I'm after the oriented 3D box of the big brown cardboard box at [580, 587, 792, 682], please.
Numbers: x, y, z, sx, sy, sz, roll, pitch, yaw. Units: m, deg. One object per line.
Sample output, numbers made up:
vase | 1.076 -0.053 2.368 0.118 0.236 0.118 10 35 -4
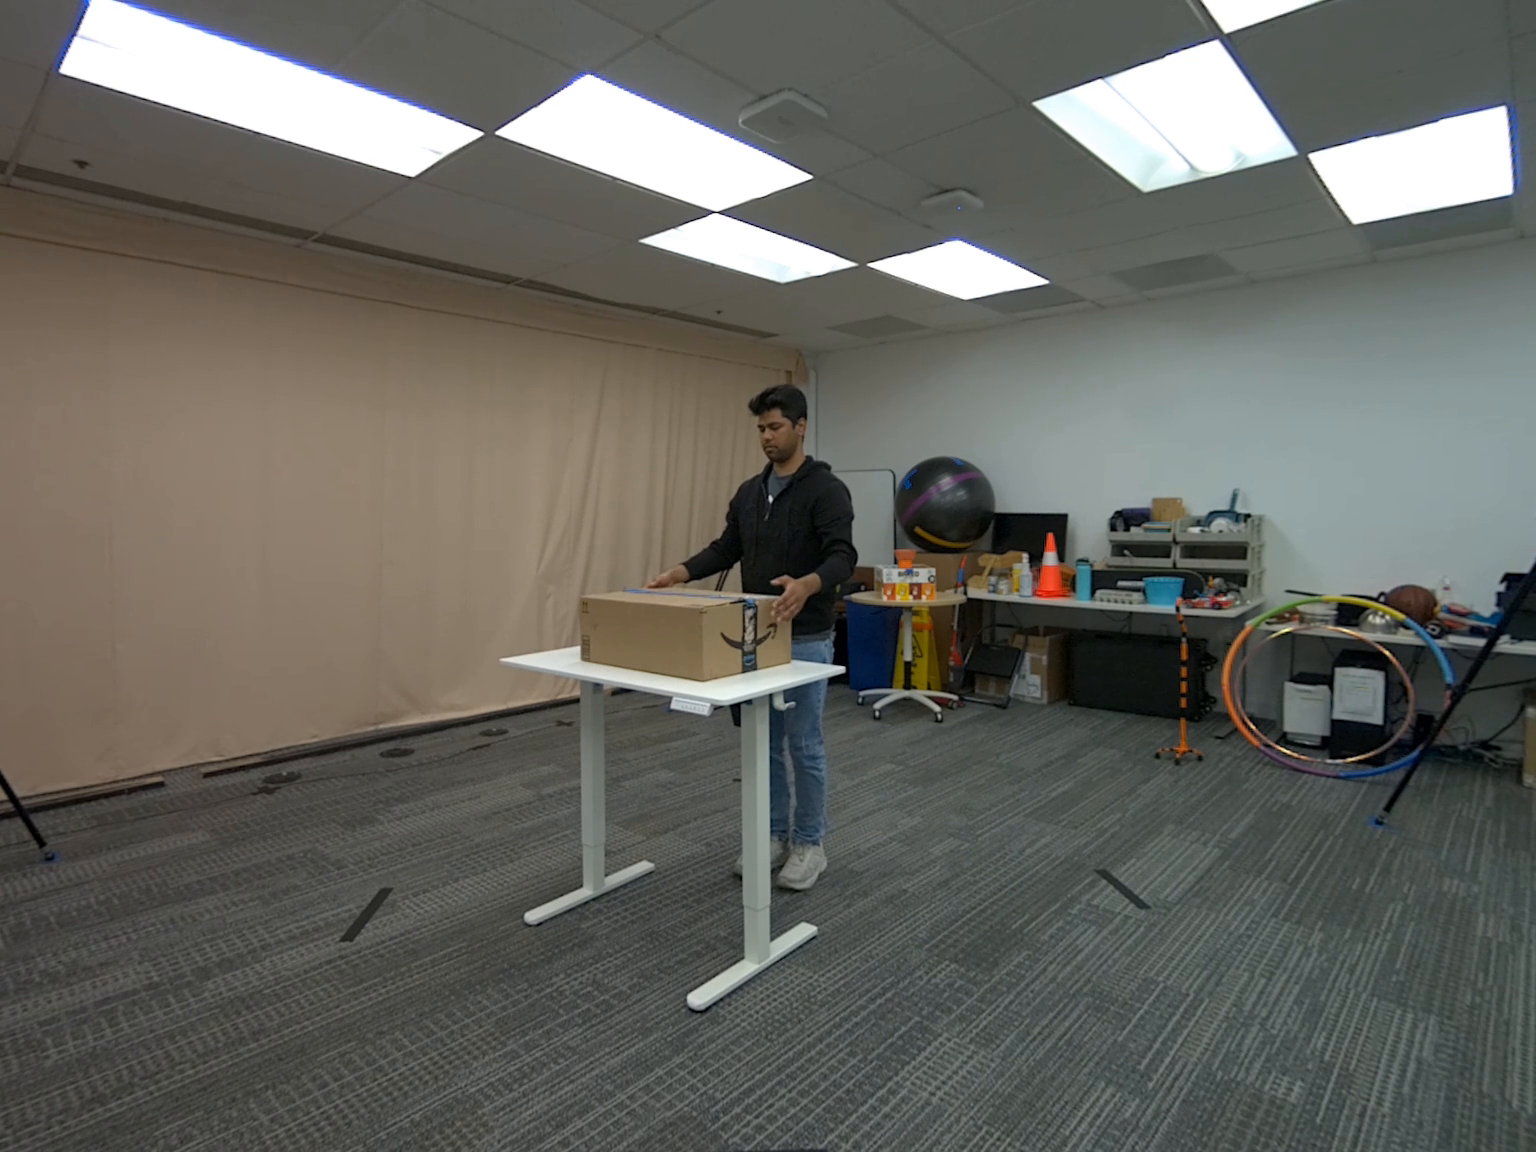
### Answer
big brown cardboard box | -0.266 0.171 2.762 0.608 0.233 0.405 2 5 41
